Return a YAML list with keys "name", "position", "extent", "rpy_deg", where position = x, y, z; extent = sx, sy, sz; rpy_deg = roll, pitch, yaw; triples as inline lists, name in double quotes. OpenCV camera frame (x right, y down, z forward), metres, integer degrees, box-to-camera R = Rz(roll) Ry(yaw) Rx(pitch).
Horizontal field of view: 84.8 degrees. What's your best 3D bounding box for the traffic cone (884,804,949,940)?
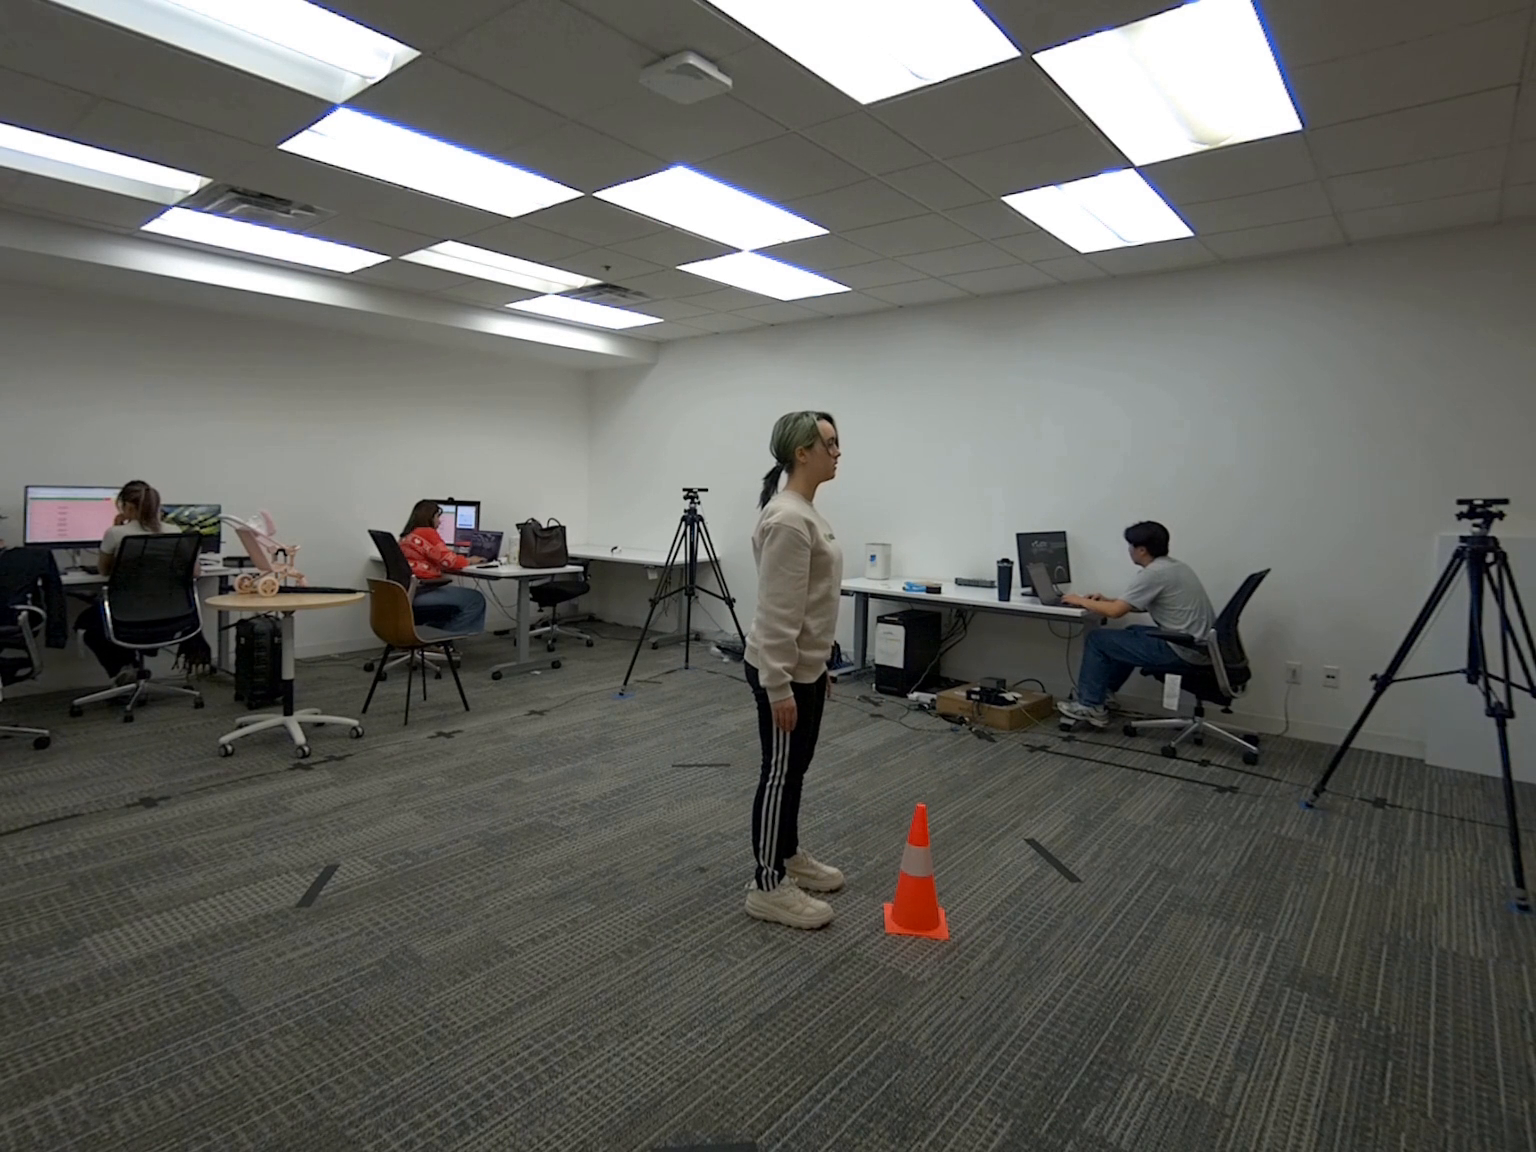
- name: "traffic cone"
  position: [0.477, 0.934, 2.769]
  extent: [0.205, 0.383, 0.203]
  rpy_deg: [1, 2, 1]
